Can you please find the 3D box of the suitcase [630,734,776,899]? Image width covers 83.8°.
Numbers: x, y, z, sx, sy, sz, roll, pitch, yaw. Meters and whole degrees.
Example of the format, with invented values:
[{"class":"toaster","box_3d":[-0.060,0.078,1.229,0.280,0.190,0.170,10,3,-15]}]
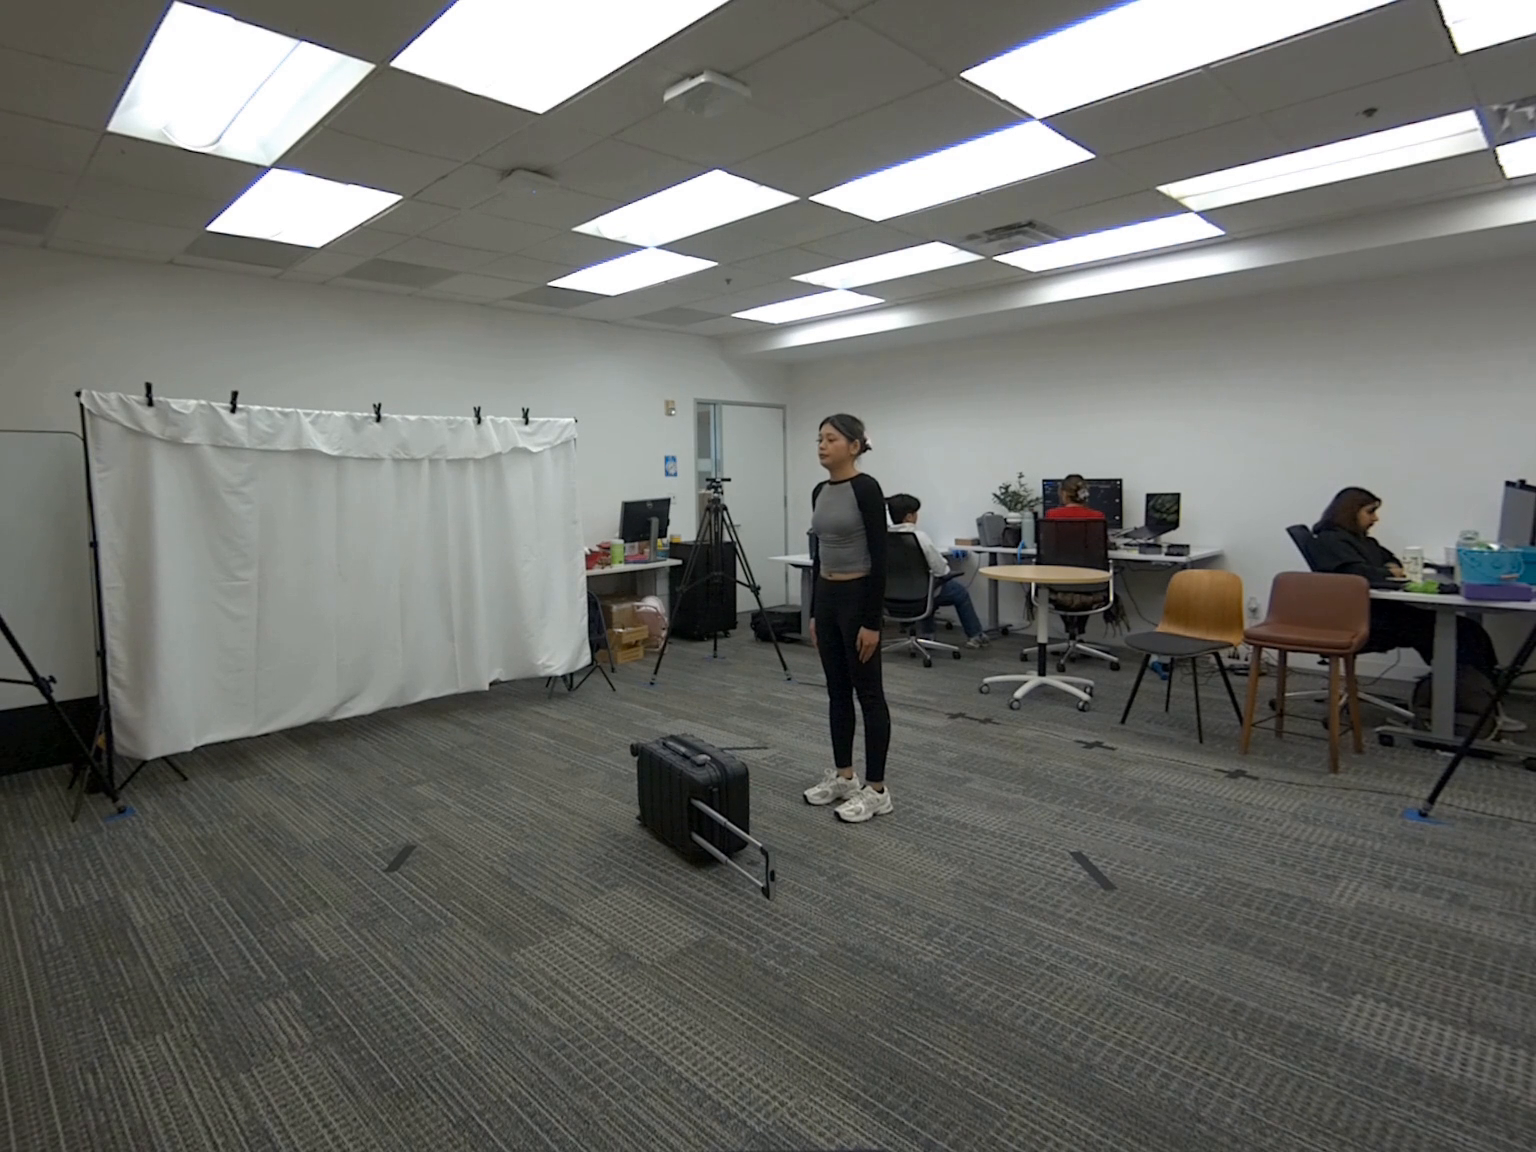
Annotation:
[{"class":"suitcase","box_3d":[-0.174,0.854,3.109,0.251,0.382,1.007,-4,6,-33]}]
